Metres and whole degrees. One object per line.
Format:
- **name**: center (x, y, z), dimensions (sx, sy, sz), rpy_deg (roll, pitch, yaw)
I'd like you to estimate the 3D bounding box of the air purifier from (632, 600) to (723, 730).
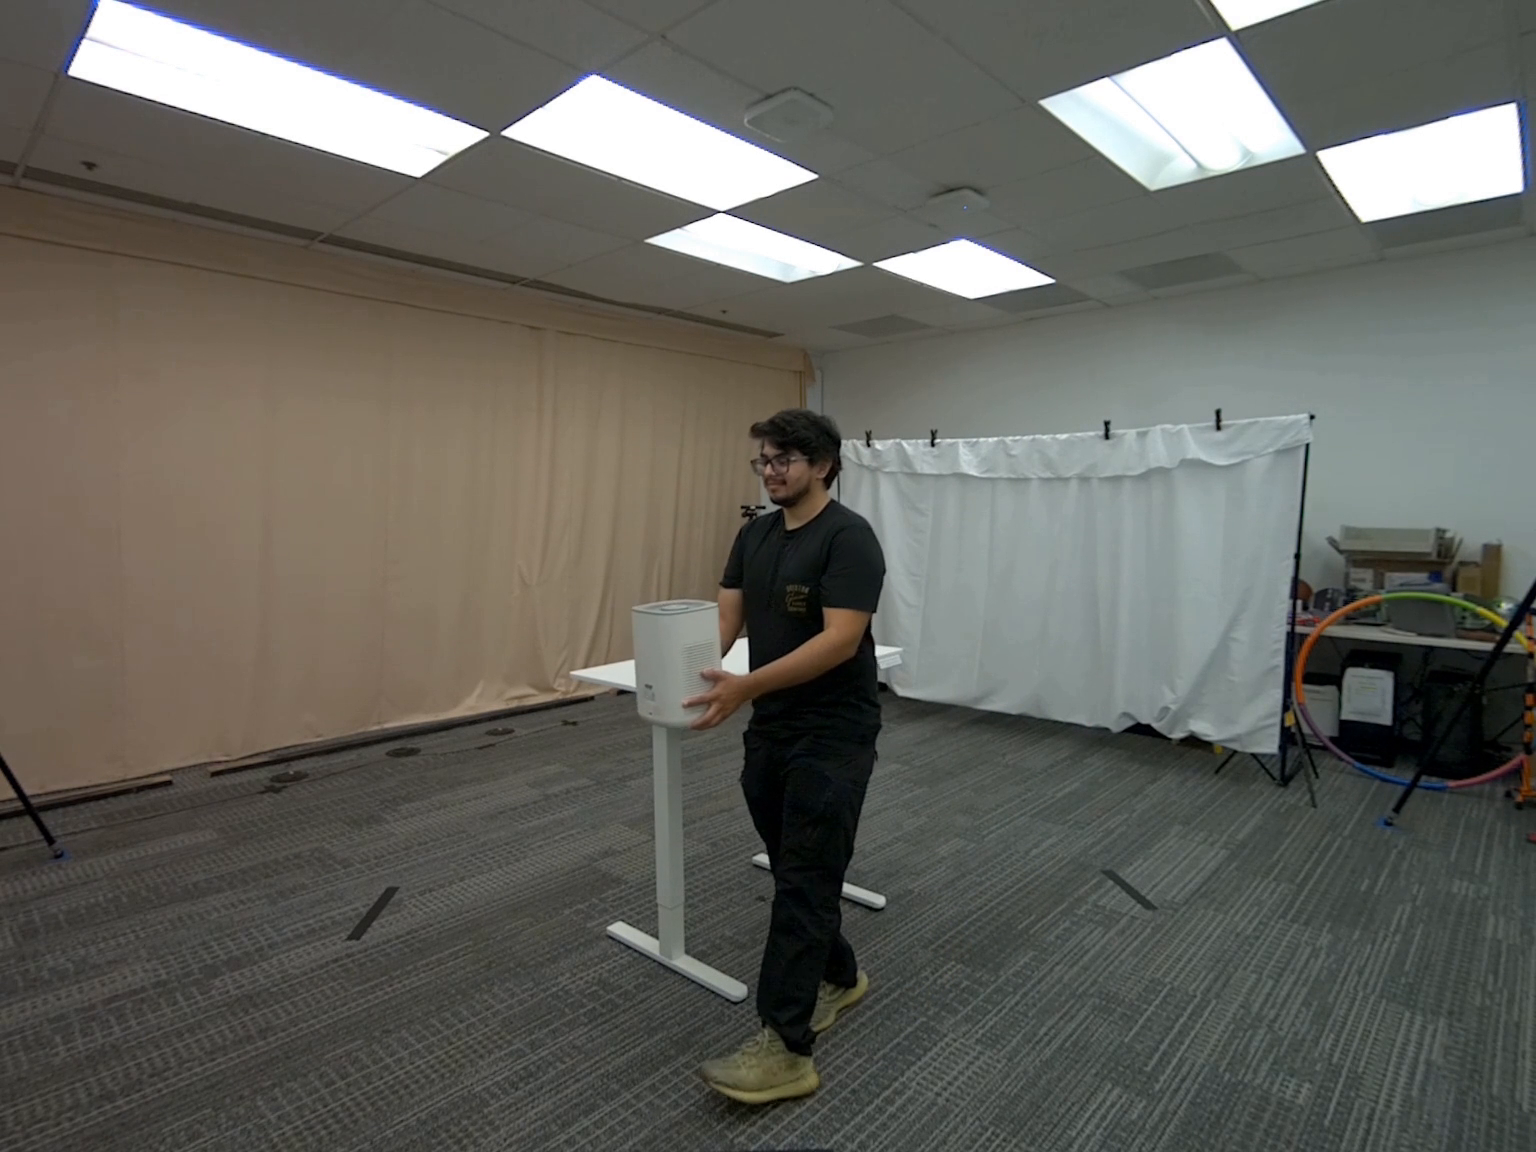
- **air purifier**: center (-0.203, 0.200, 1.909), dimensions (0.166, 0.264, 0.177), rpy_deg (-7, 7, -42)
